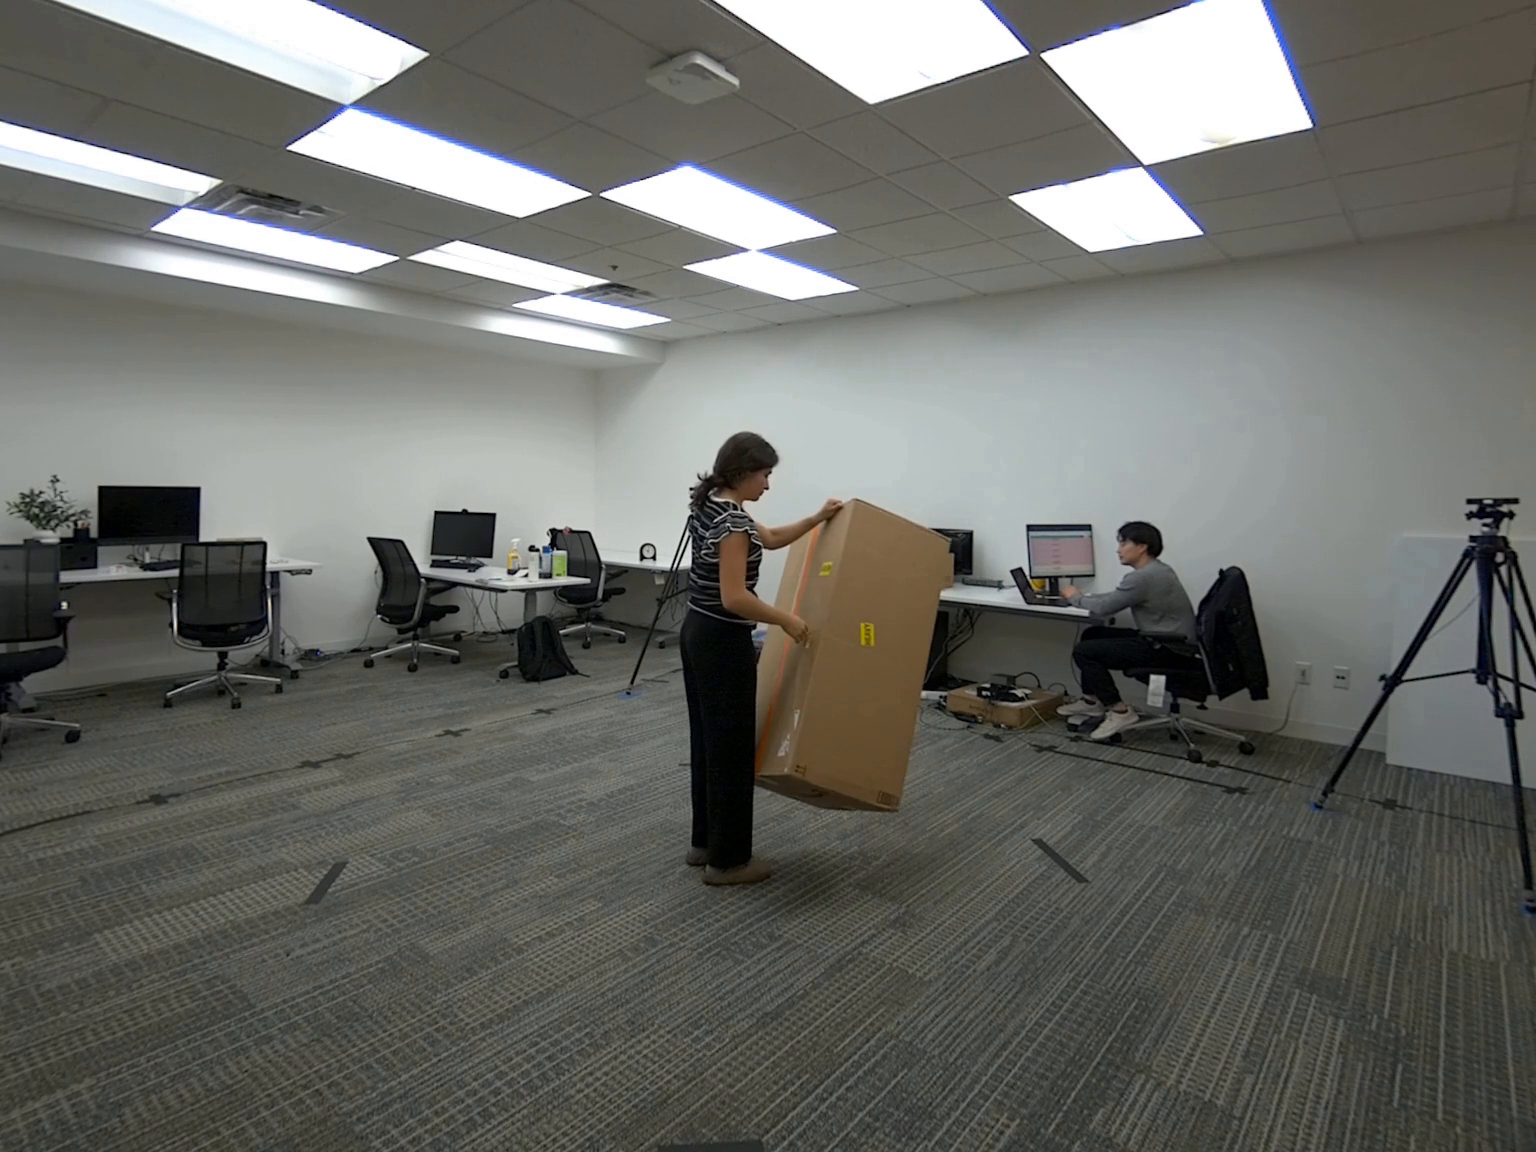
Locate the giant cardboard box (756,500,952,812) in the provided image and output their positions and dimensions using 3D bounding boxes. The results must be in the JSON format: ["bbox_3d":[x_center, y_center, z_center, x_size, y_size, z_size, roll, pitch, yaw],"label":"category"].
[{"bbox_3d":[0.259,0.307,3.224,0.419,1.039,0.580,20,-21,-14],"label":"giant cardboard box"}]
